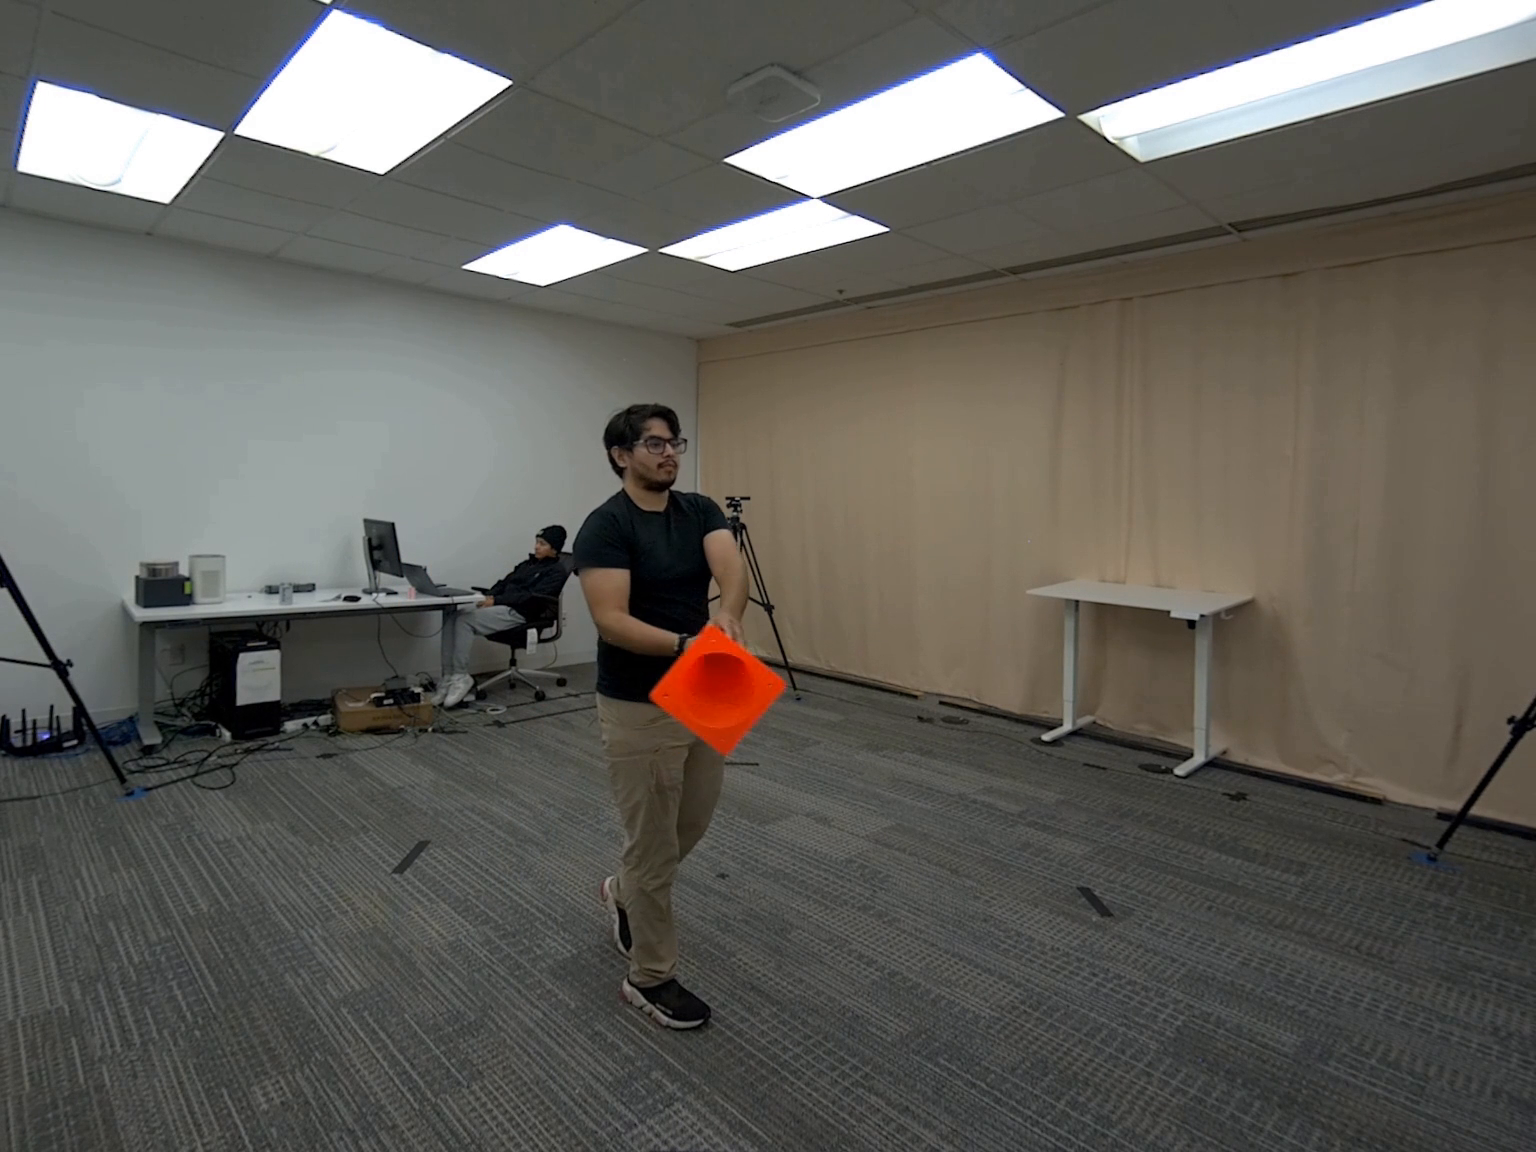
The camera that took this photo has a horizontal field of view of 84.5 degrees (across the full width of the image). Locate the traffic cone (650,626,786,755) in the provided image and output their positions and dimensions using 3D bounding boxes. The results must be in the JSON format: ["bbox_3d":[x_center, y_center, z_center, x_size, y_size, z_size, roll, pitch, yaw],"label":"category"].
[{"bbox_3d":[-0.115,0.190,1.866,0.204,0.203,0.386,40,9,-6],"label":"traffic cone"}]
